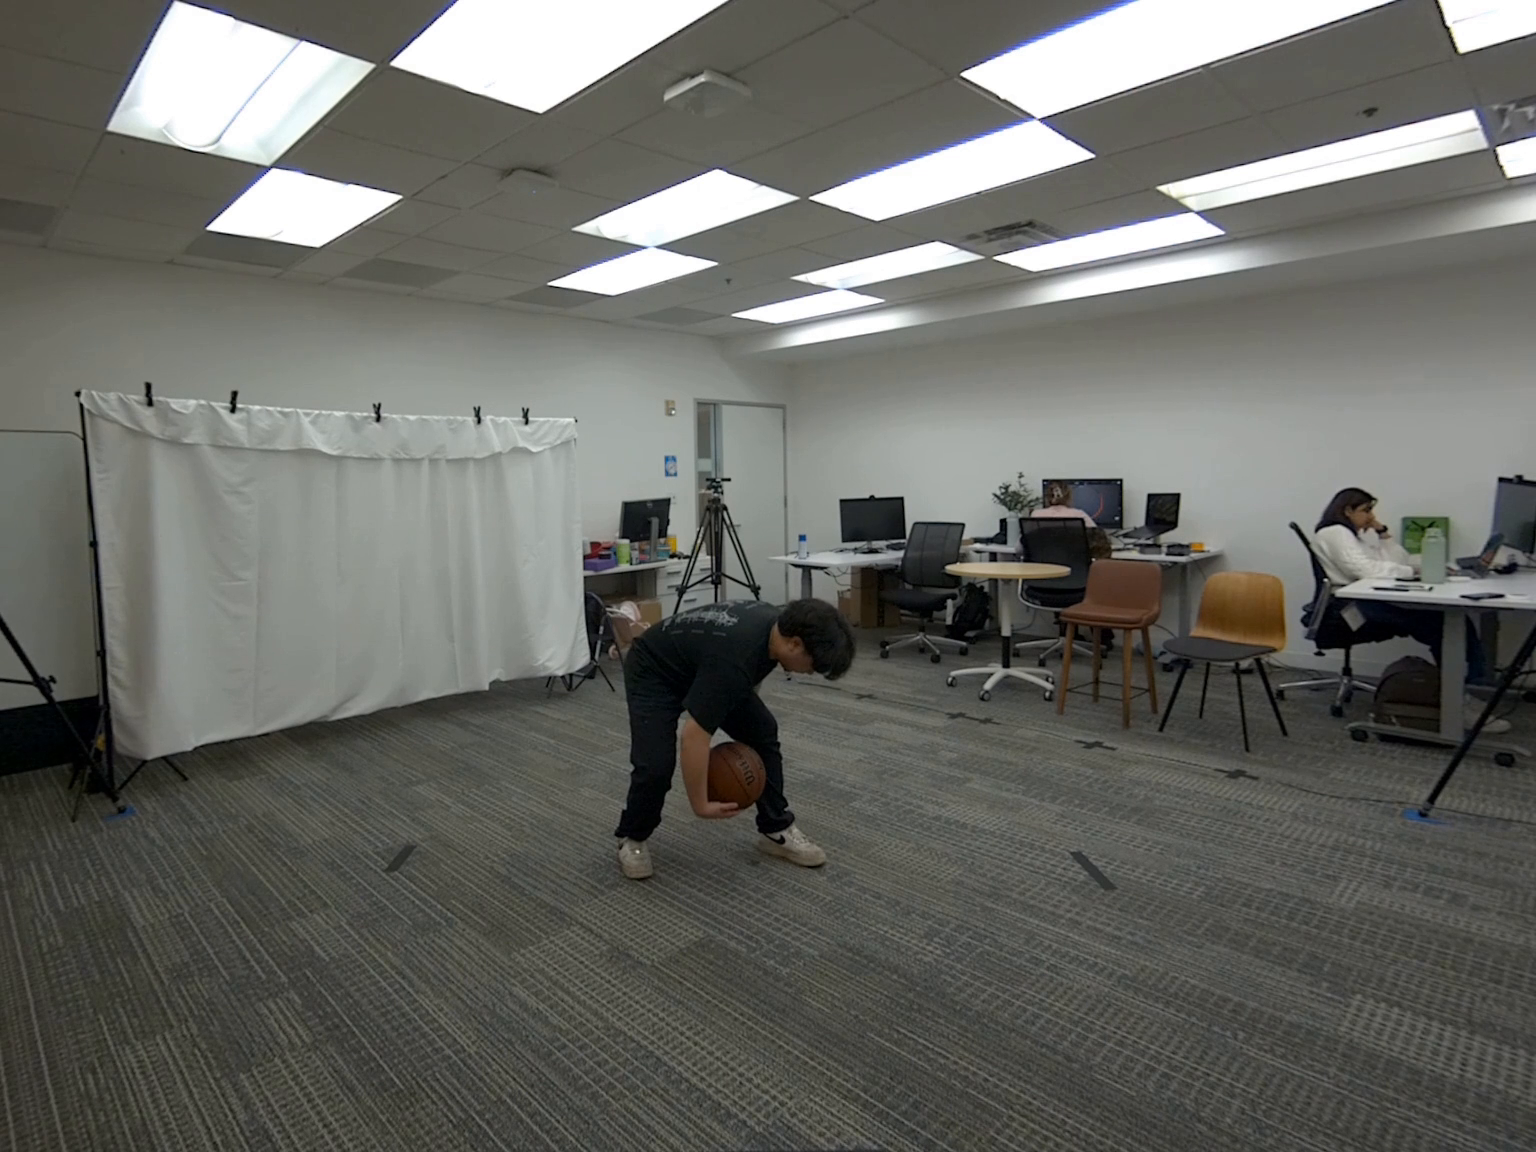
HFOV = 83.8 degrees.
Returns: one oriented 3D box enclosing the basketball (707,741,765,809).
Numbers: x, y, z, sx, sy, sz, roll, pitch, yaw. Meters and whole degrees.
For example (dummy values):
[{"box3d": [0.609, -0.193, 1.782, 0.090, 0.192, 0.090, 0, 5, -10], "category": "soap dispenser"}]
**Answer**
[{"box3d": [-0.134, 0.695, 3.004, 0.236, 0.235, 0.237, -1, 5, -2], "category": "basketball"}]
